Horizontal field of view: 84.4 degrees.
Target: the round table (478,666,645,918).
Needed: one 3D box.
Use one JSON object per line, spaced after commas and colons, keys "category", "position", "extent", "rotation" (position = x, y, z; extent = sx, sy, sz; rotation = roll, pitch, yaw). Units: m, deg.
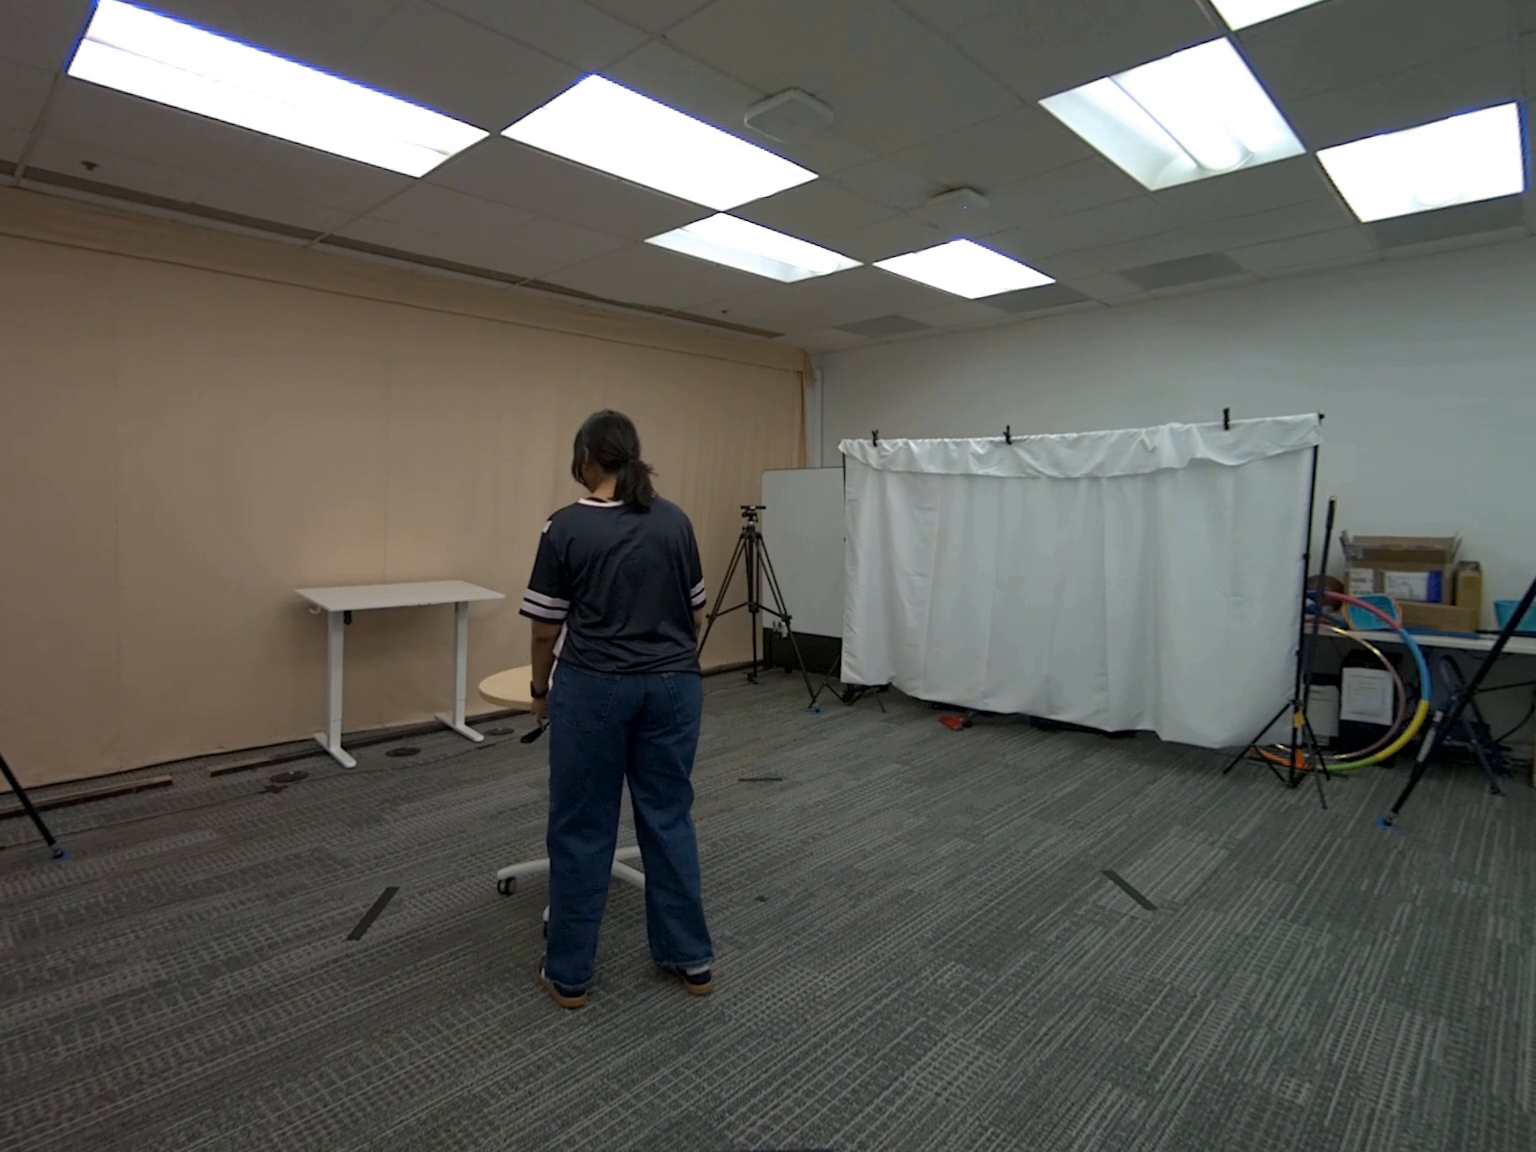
{"category": "round table", "position": [-0.614, 0.756, 3.012], "extent": [0.763, 0.792, 0.767], "rotation": [-1, 4, -2]}
